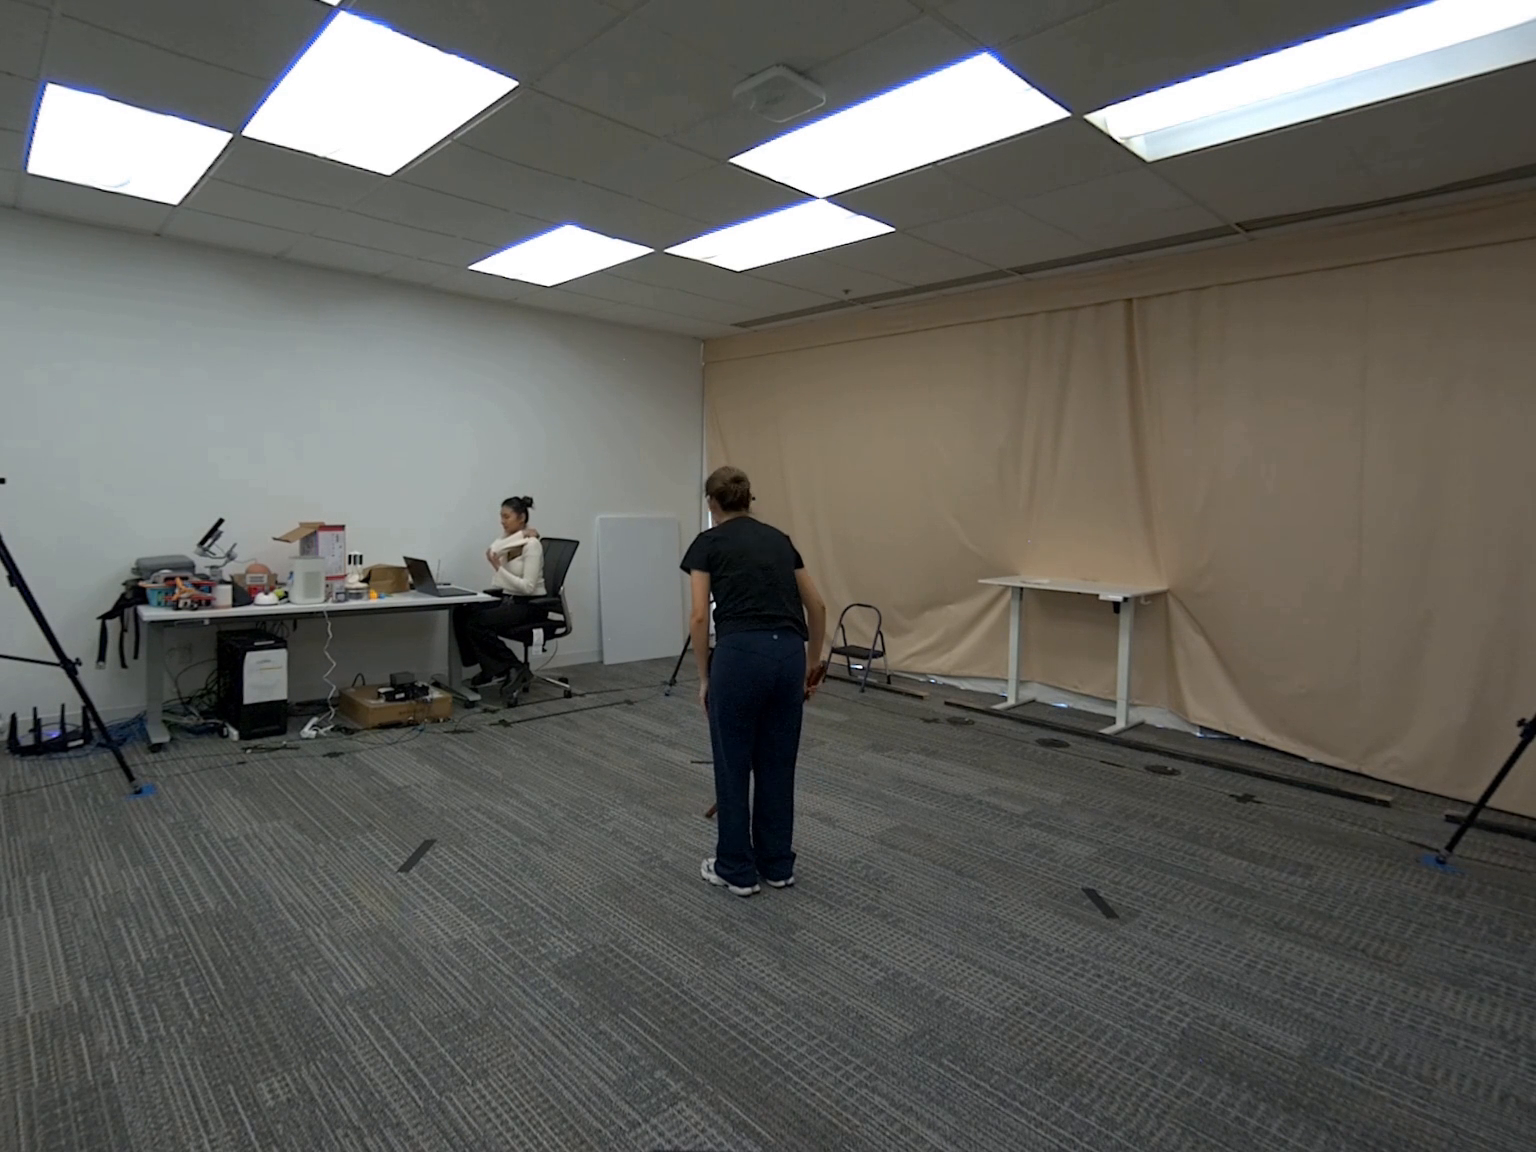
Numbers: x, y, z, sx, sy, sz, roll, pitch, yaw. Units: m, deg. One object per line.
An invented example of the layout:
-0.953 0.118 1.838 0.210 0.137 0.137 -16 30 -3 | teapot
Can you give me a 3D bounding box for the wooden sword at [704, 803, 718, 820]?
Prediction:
-0.034 0.725 3.401 0.052 1.020 0.024 40 33 6 | wooden sword
